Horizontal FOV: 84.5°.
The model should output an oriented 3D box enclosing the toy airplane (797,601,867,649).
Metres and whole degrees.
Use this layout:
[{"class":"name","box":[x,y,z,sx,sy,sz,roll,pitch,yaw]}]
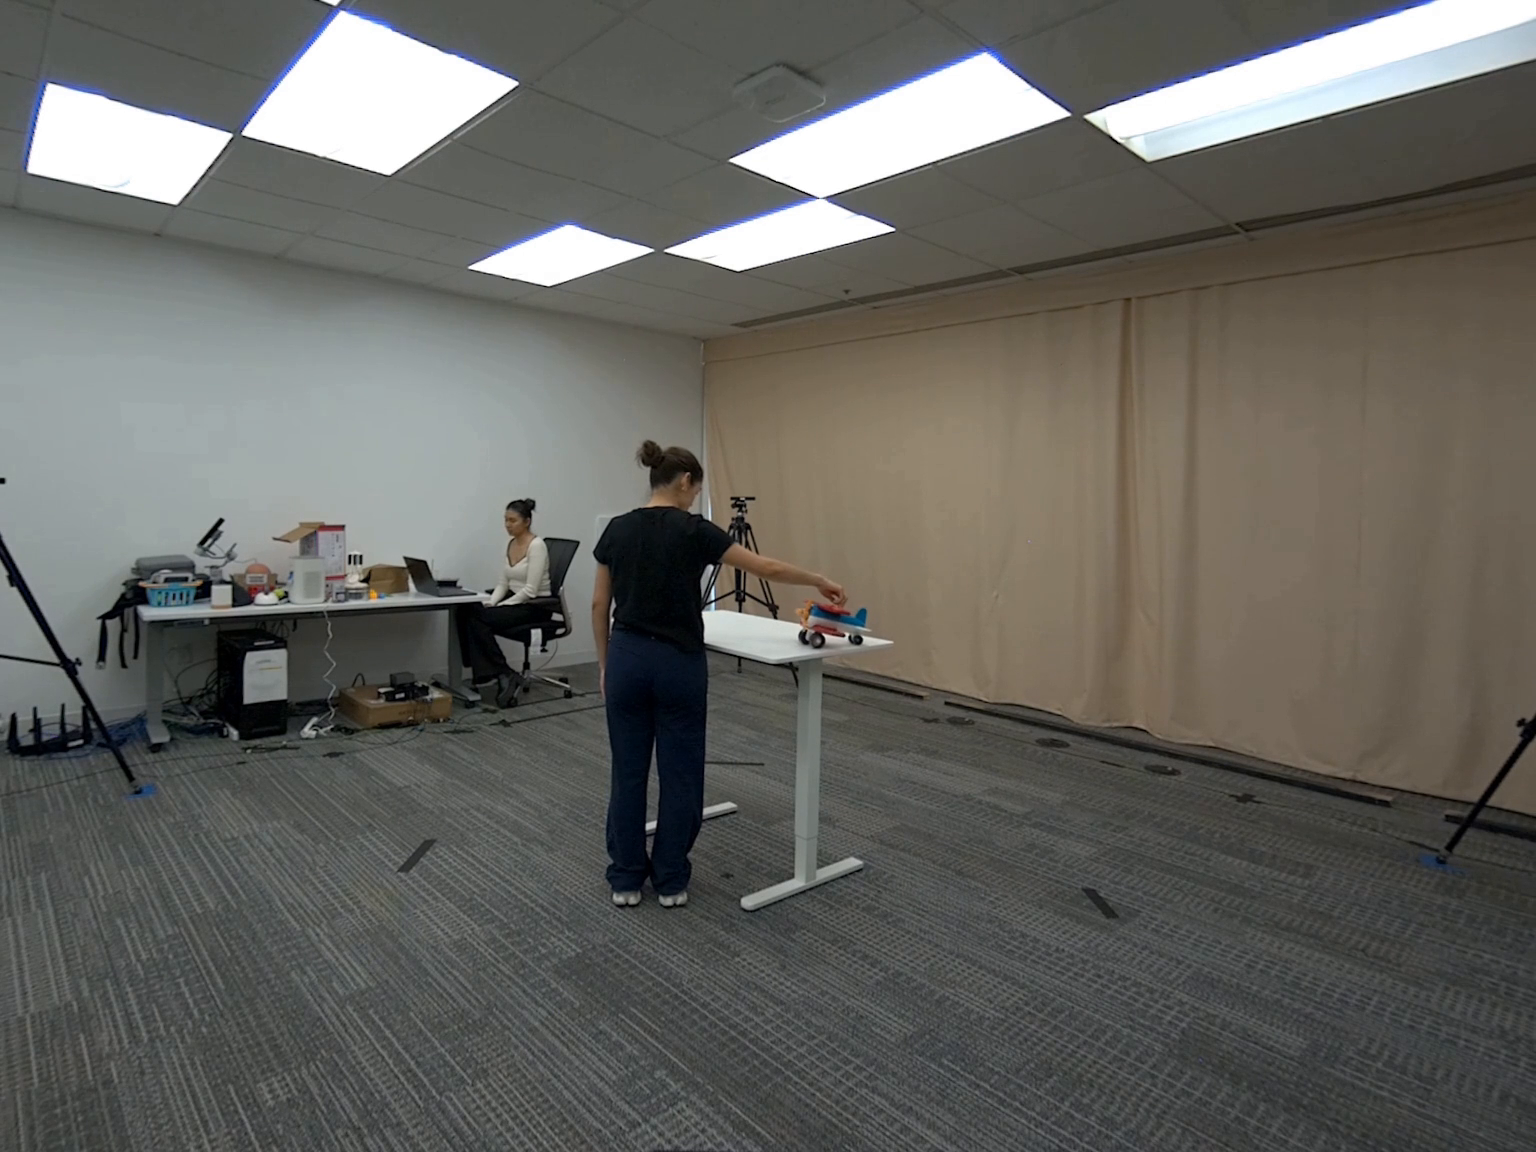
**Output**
[{"class":"toy airplane","box":[0.219,0.169,2.975,0.257,0.156,0.253,5,7,39]}]
